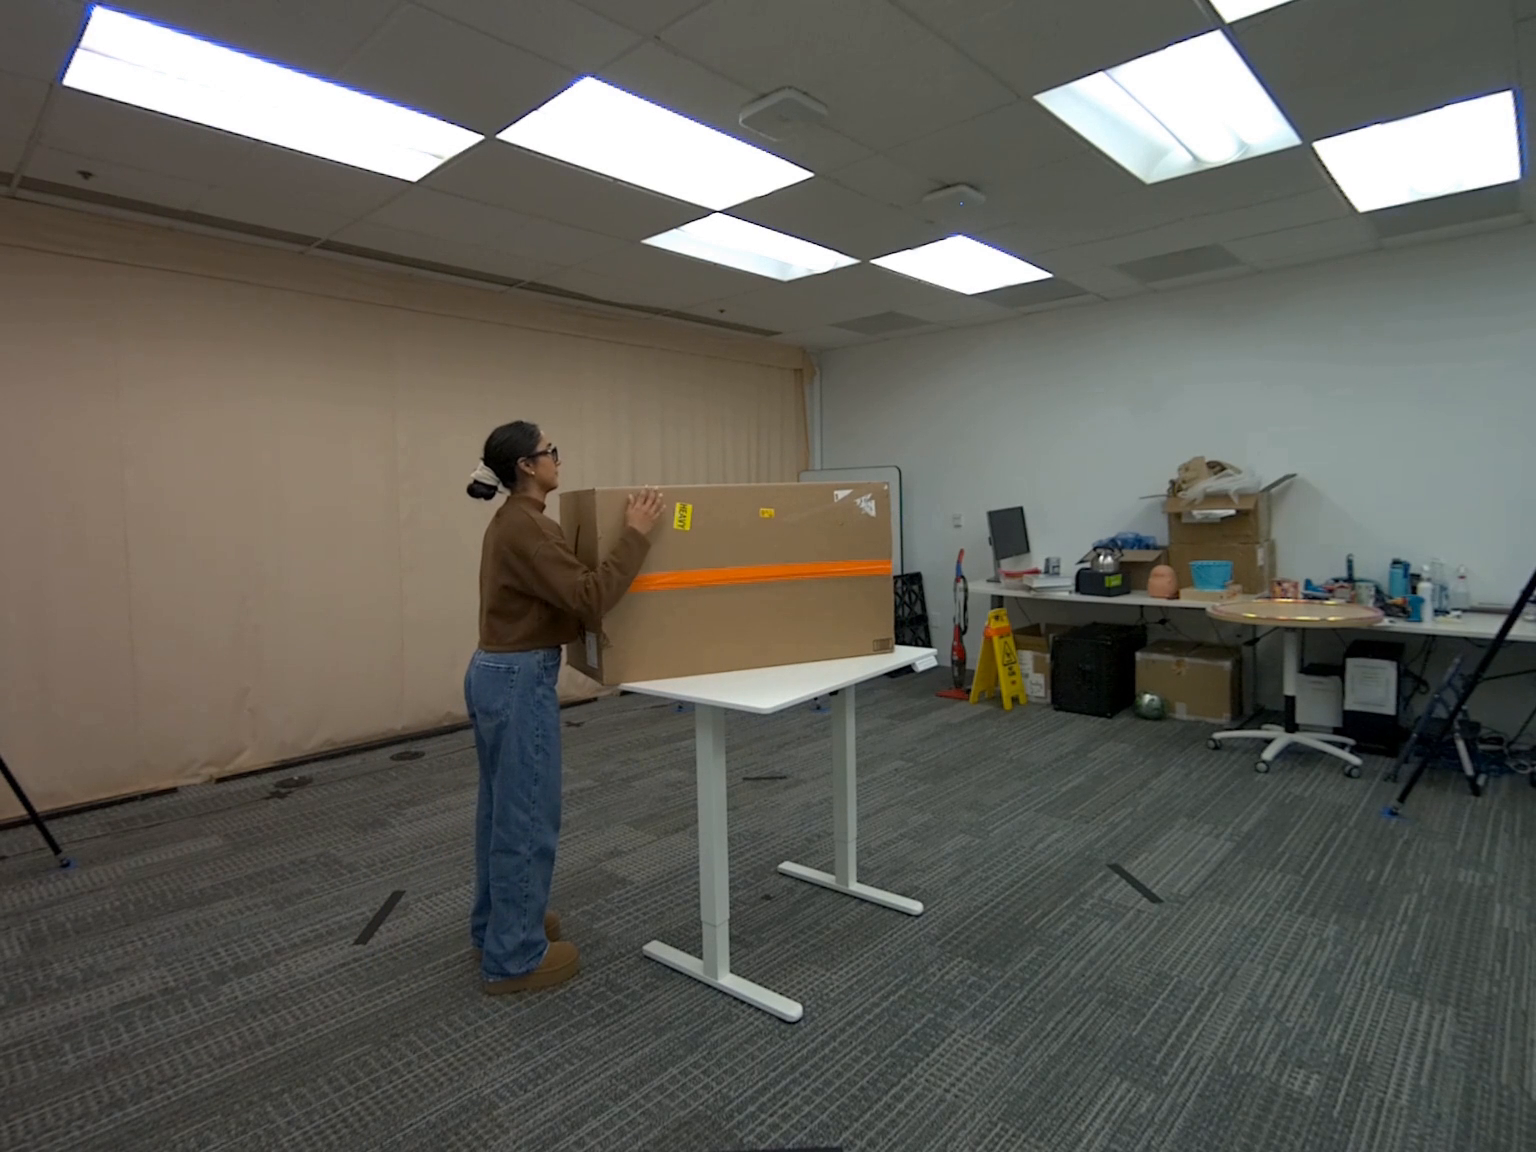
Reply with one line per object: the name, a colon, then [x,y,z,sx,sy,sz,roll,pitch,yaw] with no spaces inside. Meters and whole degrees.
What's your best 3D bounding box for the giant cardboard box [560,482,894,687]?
giant cardboard box: [-0.122,-0.008,2.814,1.002,0.576,0.437,-4,3,-25]
